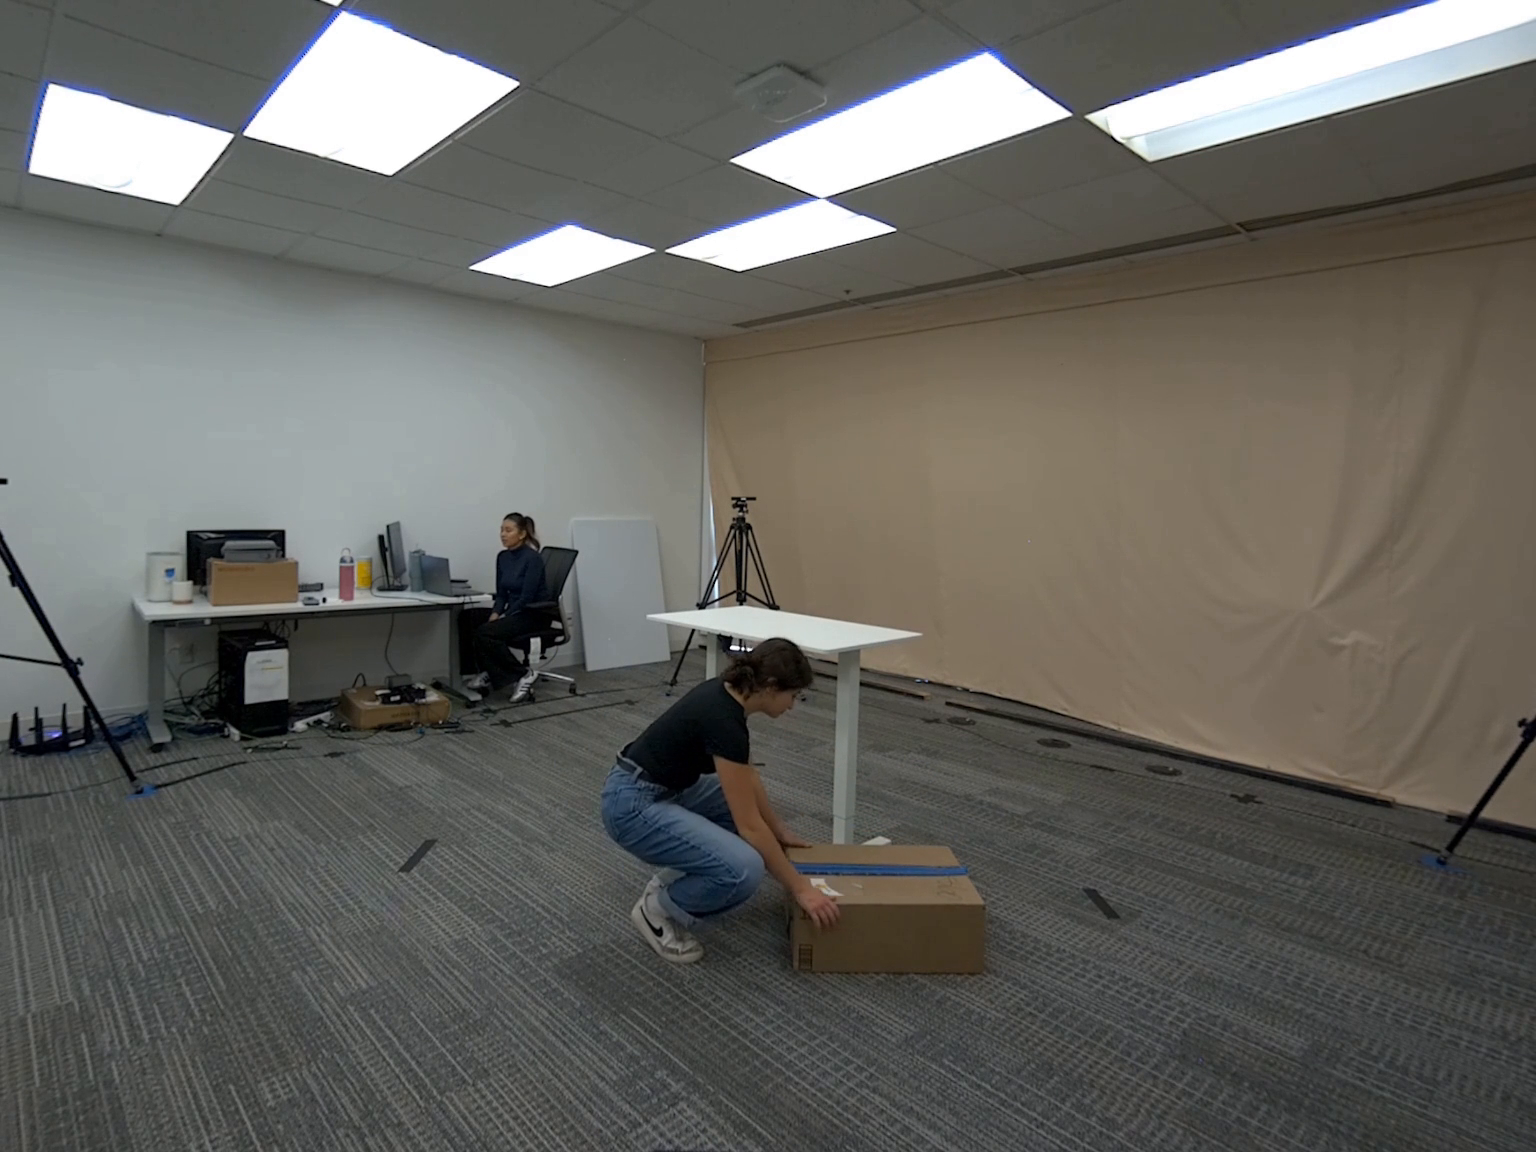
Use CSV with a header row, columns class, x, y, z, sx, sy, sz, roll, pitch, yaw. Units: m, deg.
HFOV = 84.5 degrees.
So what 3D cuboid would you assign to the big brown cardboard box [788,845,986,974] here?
class,x,y,z,sx,sy,sz,roll,pitch,yaw
big brown cardboard box,0.341,1.048,2.683,0.587,0.232,0.420,2,5,-3
